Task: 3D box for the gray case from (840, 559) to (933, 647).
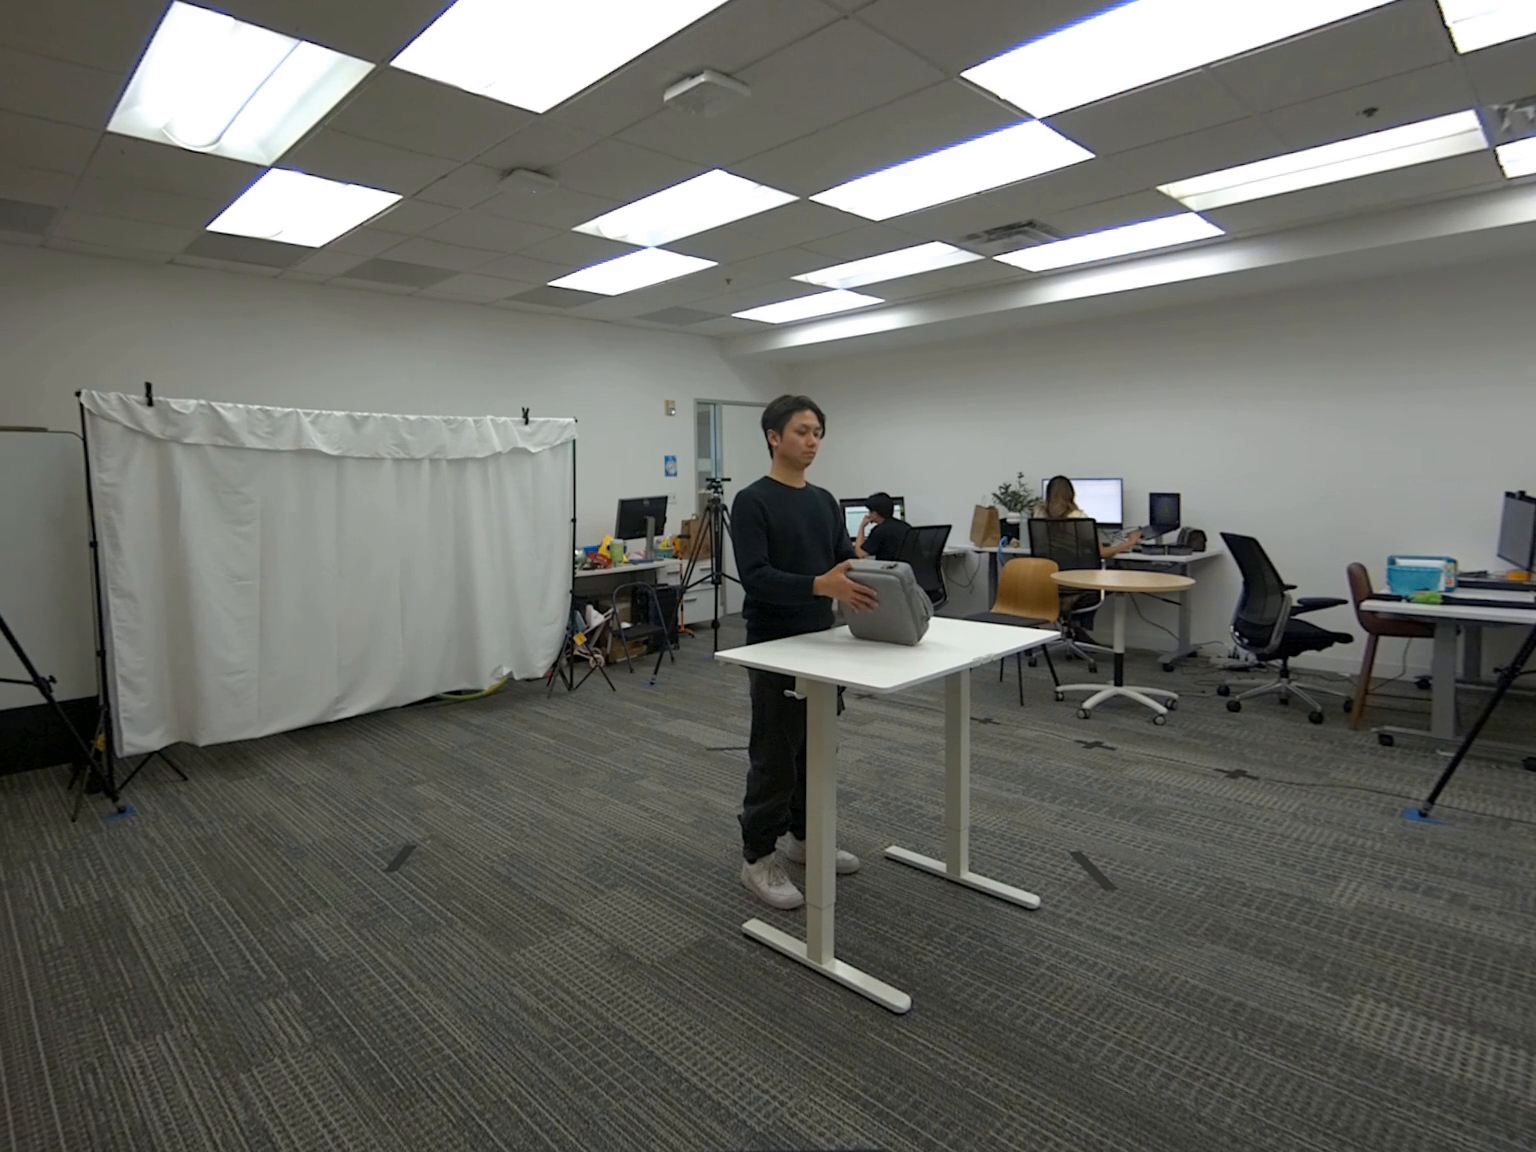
[{"bbox_3d":[0.349,0.078,2.631,0.269,0.251,0.103,4,31,44],"label":"gray case"}]
